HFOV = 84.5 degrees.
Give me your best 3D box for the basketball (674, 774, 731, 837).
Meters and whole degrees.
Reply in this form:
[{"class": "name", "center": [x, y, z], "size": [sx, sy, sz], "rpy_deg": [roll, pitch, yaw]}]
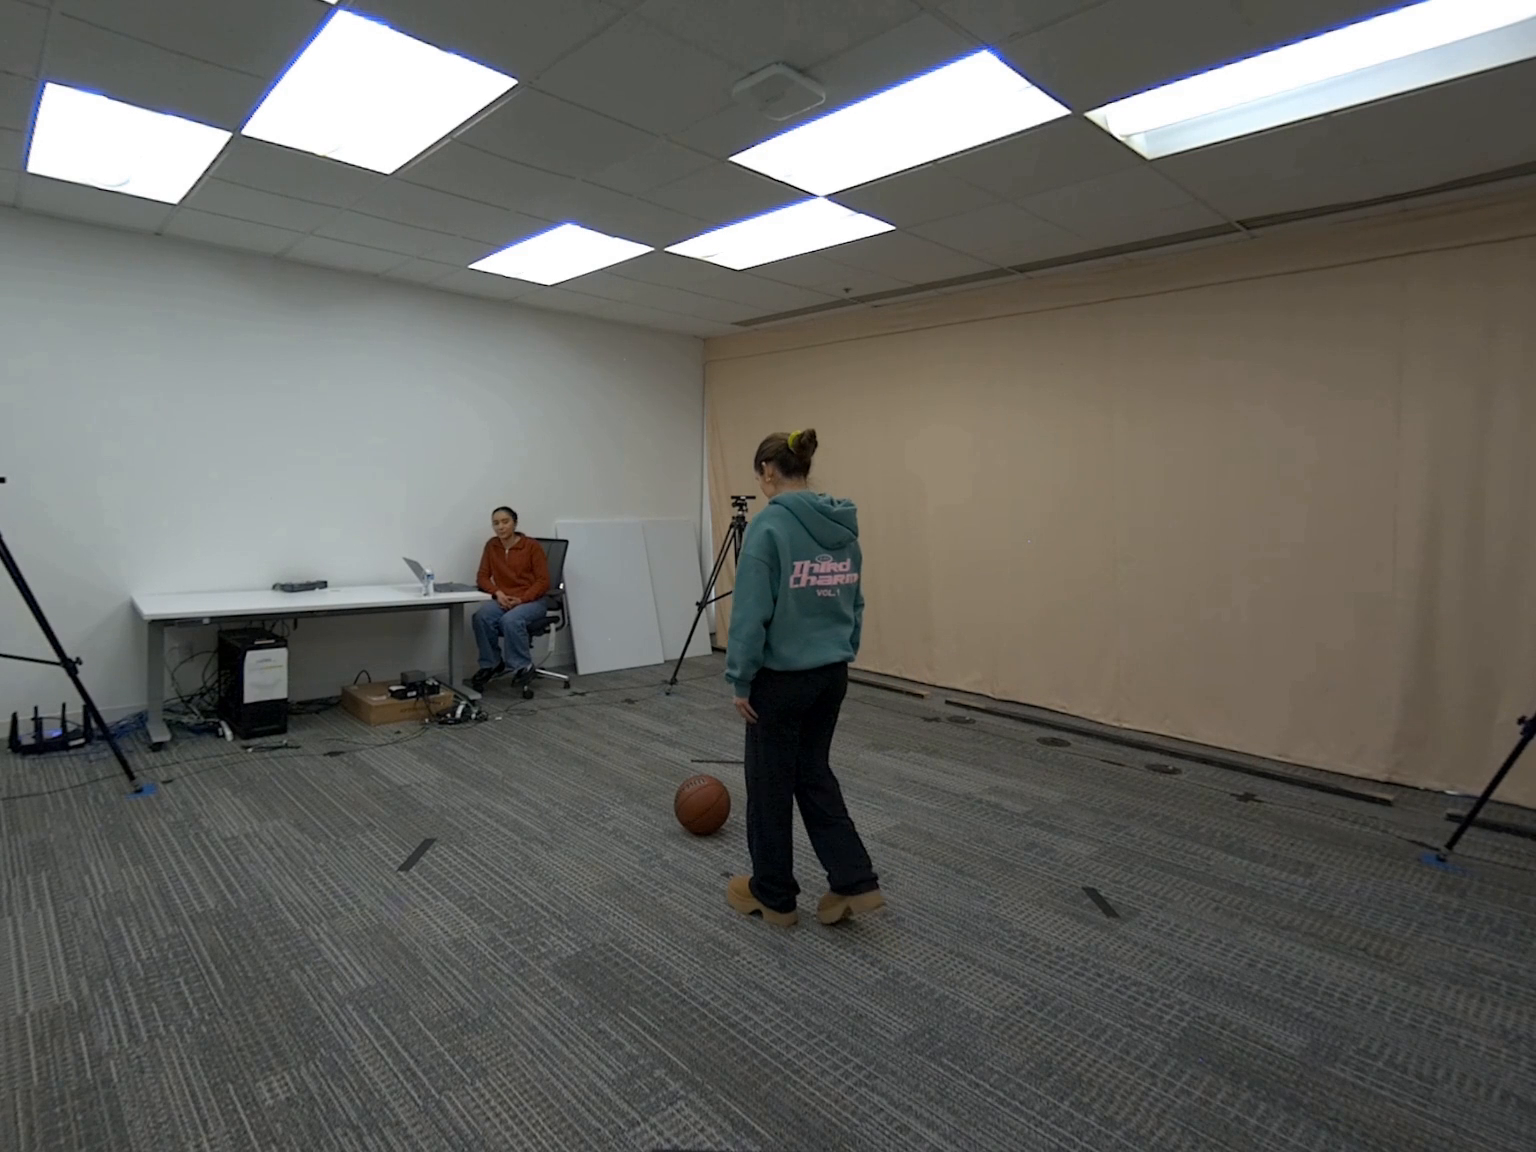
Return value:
[{"class": "basketball", "center": [-0.282, 0.945, 3.488], "size": [0.236, 0.235, 0.237], "rpy_deg": [1, 4, -1]}]
